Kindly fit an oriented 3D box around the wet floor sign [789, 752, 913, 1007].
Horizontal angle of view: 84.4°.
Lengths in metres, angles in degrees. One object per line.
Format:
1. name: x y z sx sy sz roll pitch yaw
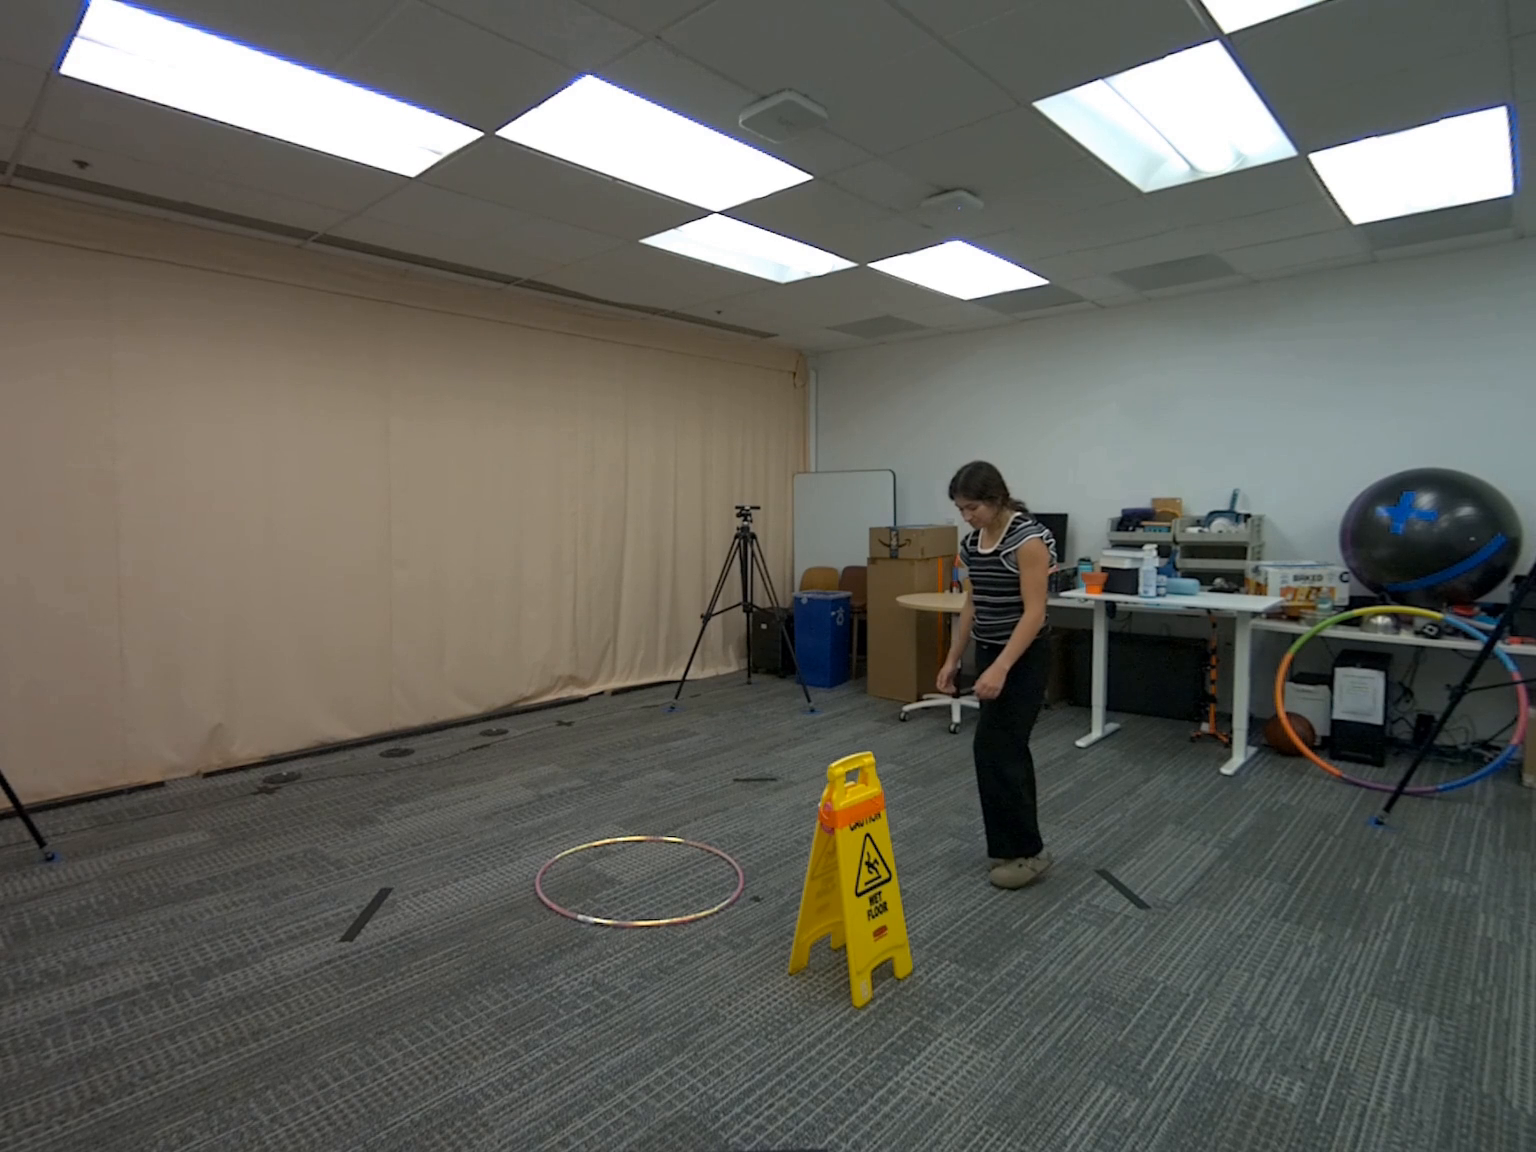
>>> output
1. wet floor sign: 0.247 0.860 2.495 0.299 0.645 0.273 2 3 44
